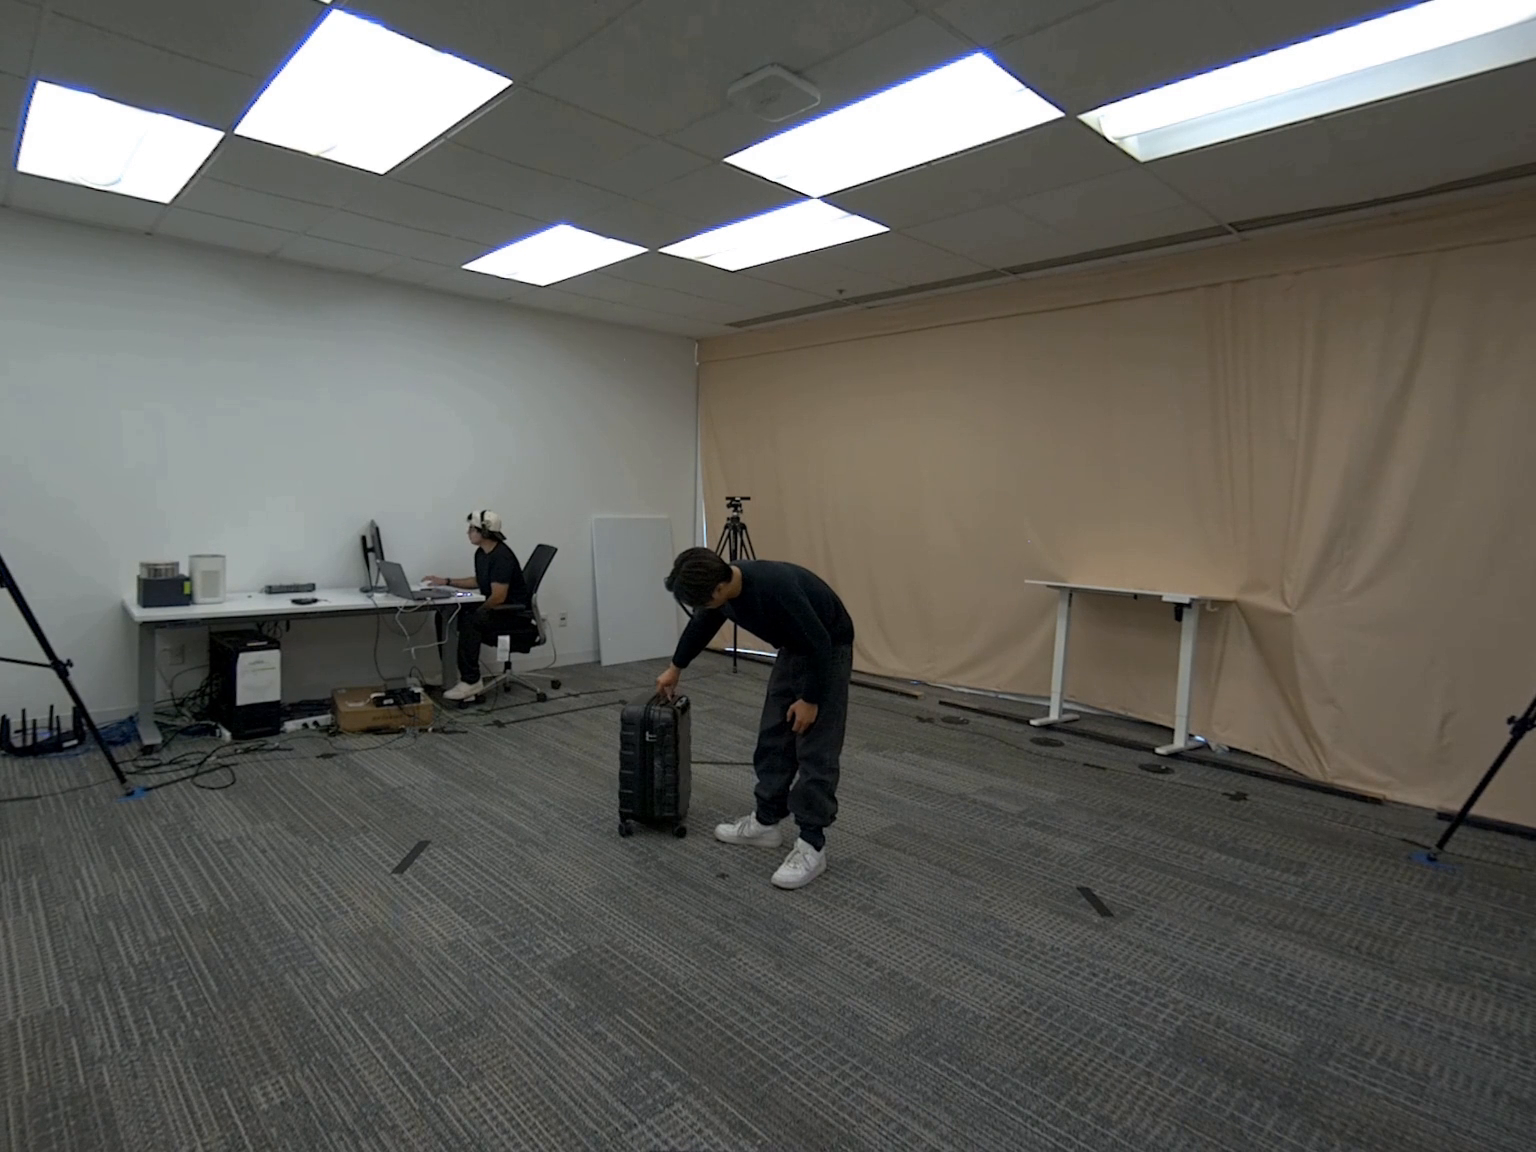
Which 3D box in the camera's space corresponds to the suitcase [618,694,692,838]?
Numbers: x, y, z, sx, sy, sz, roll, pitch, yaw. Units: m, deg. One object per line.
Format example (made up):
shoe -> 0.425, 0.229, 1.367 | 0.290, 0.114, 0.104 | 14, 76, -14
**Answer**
suitcase -> -0.482, 0.778, 3.592 | 0.249, 0.548, 0.375 | 2, 4, 5
